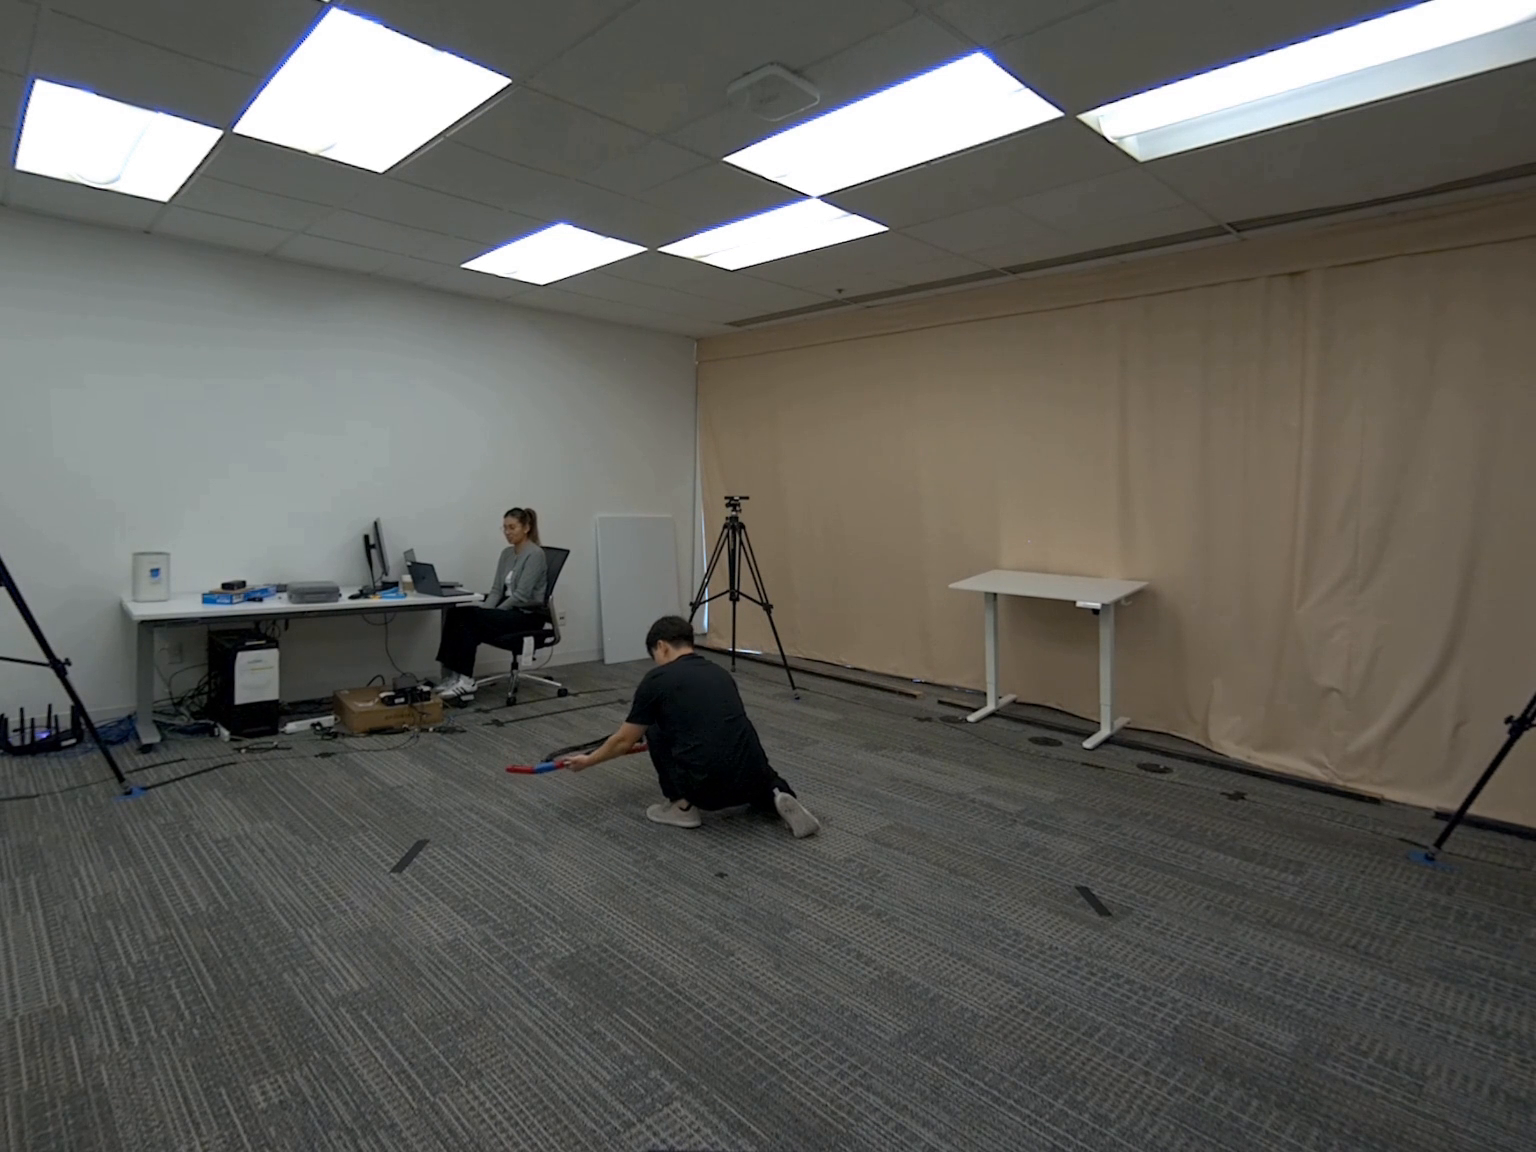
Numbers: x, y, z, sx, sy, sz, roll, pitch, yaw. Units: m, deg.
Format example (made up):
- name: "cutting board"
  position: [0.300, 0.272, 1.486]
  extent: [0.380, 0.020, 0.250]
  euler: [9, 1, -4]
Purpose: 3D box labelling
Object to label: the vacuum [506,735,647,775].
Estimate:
- name: "vacuum"
  position: [-0.716, 0.788, 3.878]
  extent: [1.026, 0.250, 0.148]
  euler: [-4, 27, -39]
